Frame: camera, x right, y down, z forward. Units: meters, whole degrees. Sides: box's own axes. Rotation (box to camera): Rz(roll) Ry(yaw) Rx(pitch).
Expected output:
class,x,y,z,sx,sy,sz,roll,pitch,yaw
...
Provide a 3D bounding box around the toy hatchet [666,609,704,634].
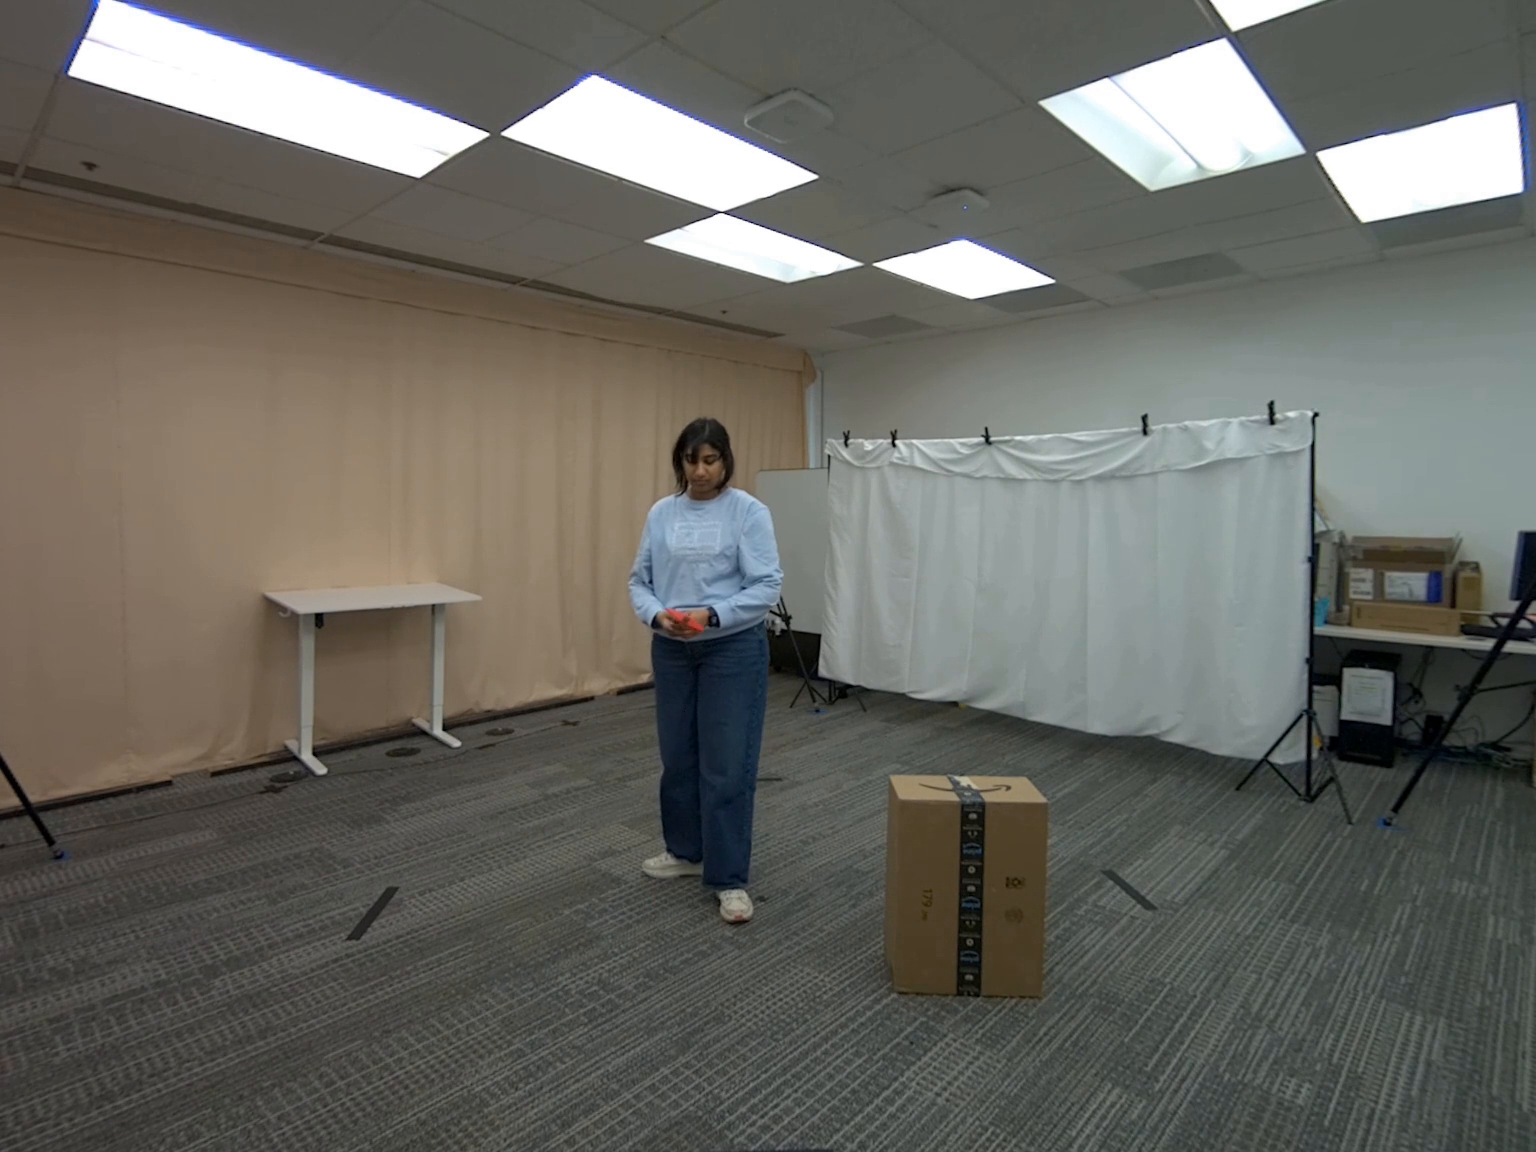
class,x,y,z,sx,sy,sz,roll,pitch,yaw
toy hatchet,-0.261,0.157,2.700,0.131,0.029,0.268,24,-13,1
